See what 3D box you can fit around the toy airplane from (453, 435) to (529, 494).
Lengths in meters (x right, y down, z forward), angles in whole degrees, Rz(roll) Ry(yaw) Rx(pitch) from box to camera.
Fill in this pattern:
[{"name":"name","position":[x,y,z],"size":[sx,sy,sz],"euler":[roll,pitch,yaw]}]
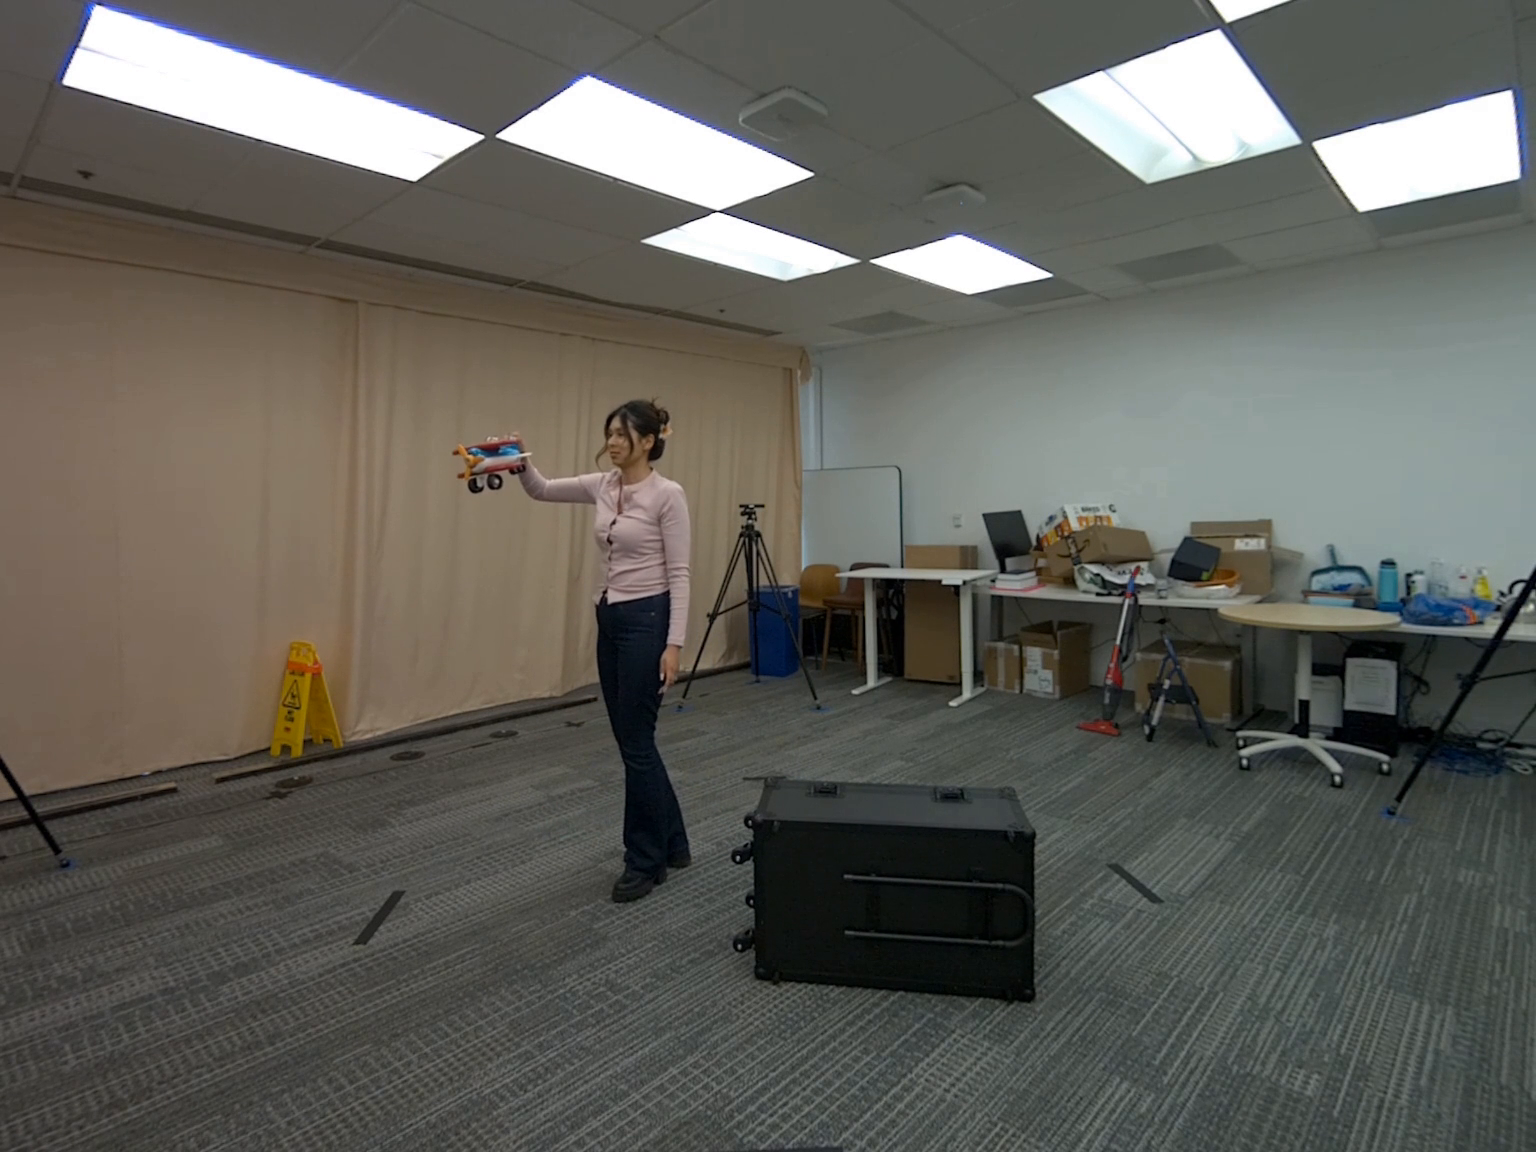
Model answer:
[{"name":"toy airplane","position":[-0.934,-0.383,2.855],"size":[0.251,0.154,0.263],"euler":[-16,21,1]}]
